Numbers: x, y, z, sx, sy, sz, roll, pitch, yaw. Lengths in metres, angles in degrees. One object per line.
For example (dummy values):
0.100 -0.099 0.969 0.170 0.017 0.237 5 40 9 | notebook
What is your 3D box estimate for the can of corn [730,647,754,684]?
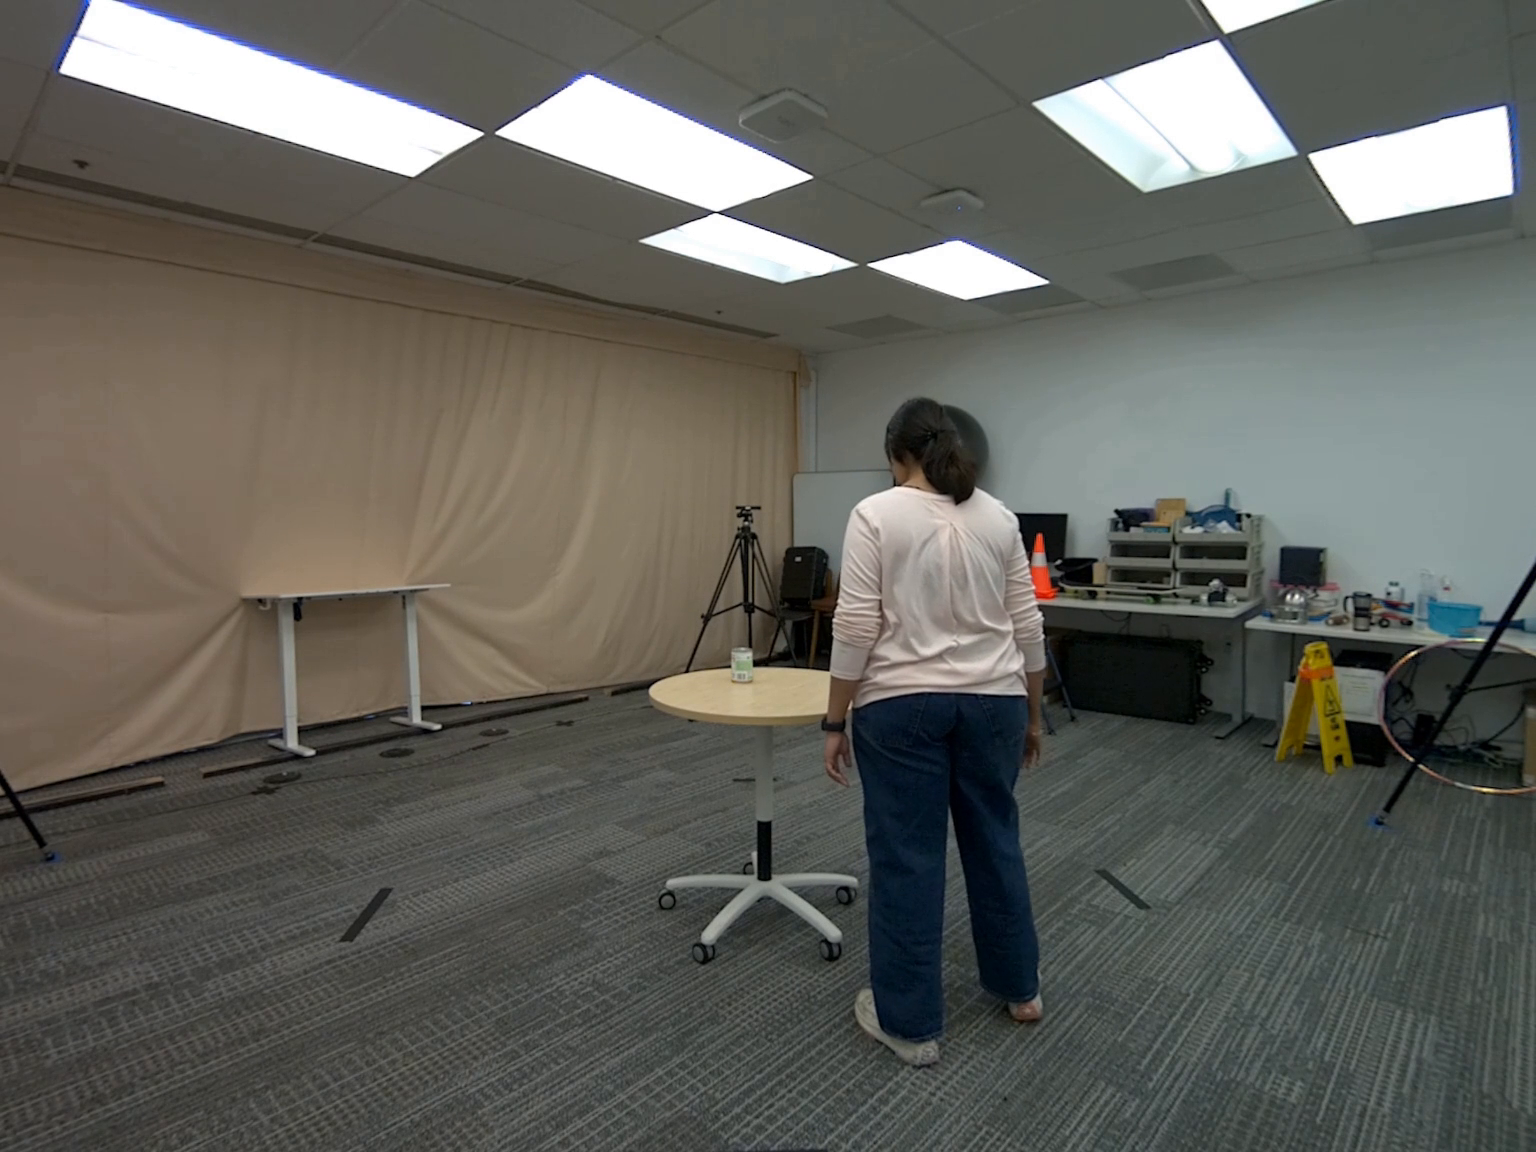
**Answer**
-0.090 0.313 2.919 0.074 0.111 0.074 -1 5 -2 | can of corn
